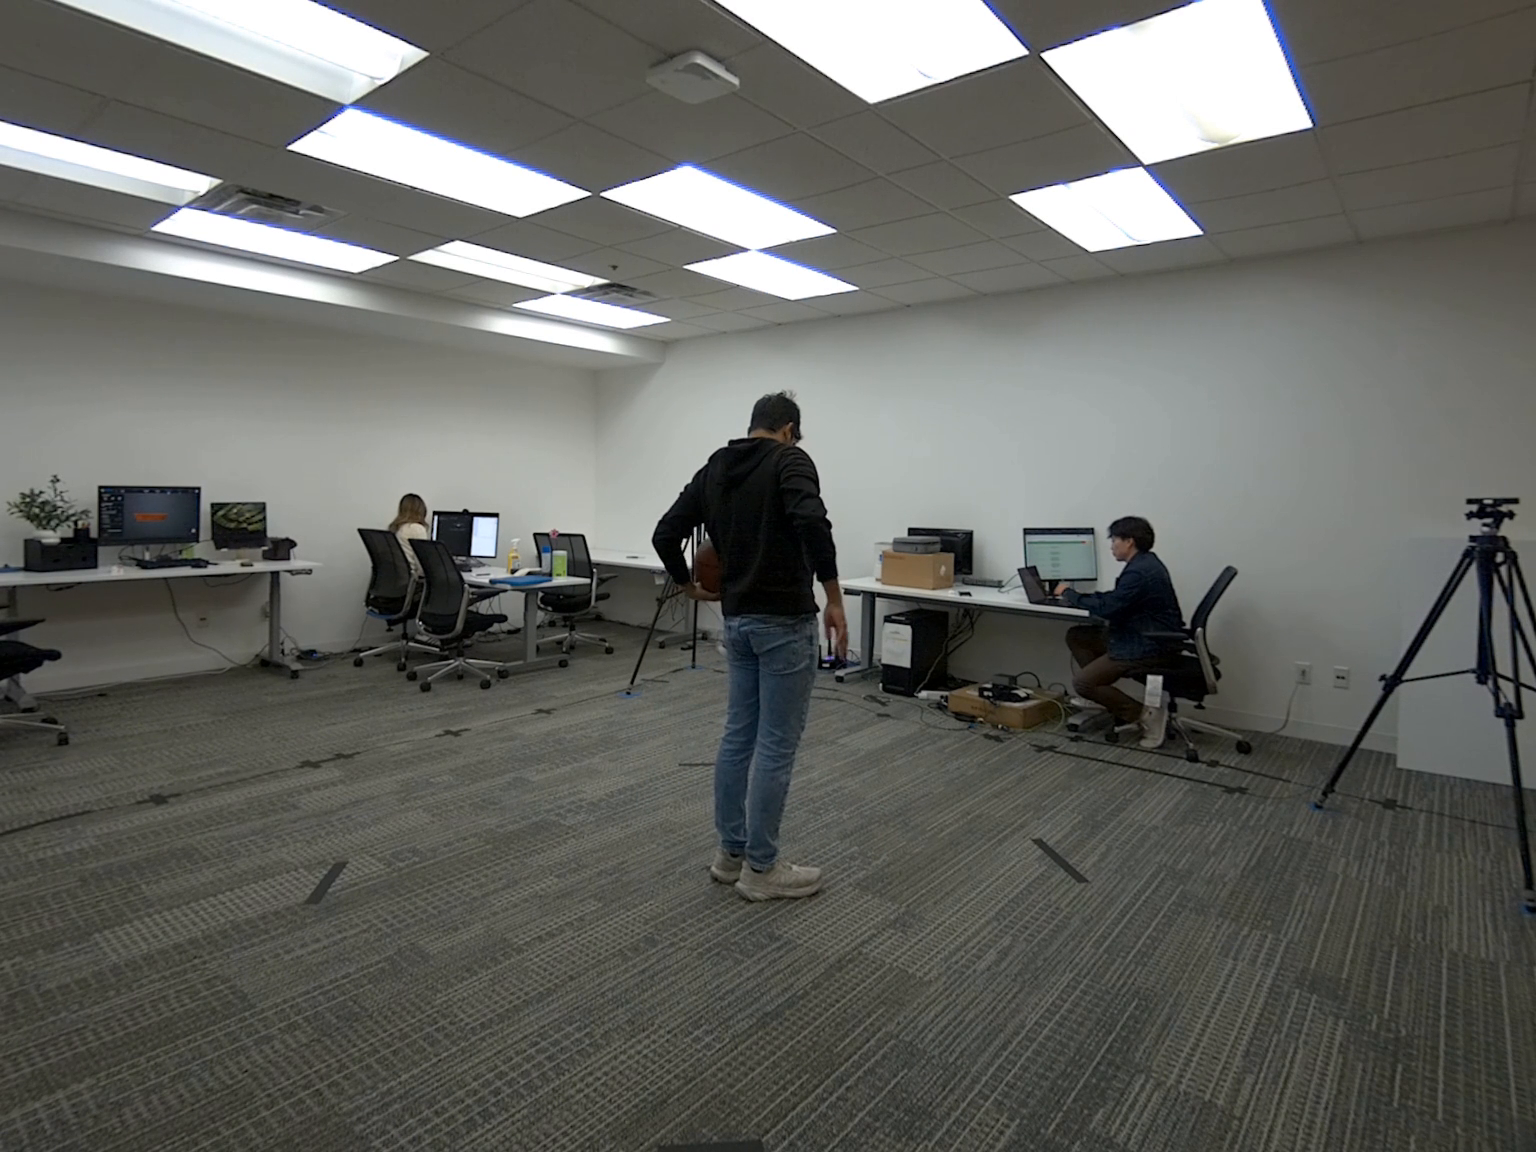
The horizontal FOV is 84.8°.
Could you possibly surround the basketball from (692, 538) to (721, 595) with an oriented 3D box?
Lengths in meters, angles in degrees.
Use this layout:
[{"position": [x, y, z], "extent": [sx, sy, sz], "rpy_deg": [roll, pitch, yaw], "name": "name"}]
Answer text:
[{"position": [-0.161, -0.057, 3.226], "extent": [0.235, 0.235, 0.237], "rpy_deg": [1, 4, -2], "name": "basketball"}]
